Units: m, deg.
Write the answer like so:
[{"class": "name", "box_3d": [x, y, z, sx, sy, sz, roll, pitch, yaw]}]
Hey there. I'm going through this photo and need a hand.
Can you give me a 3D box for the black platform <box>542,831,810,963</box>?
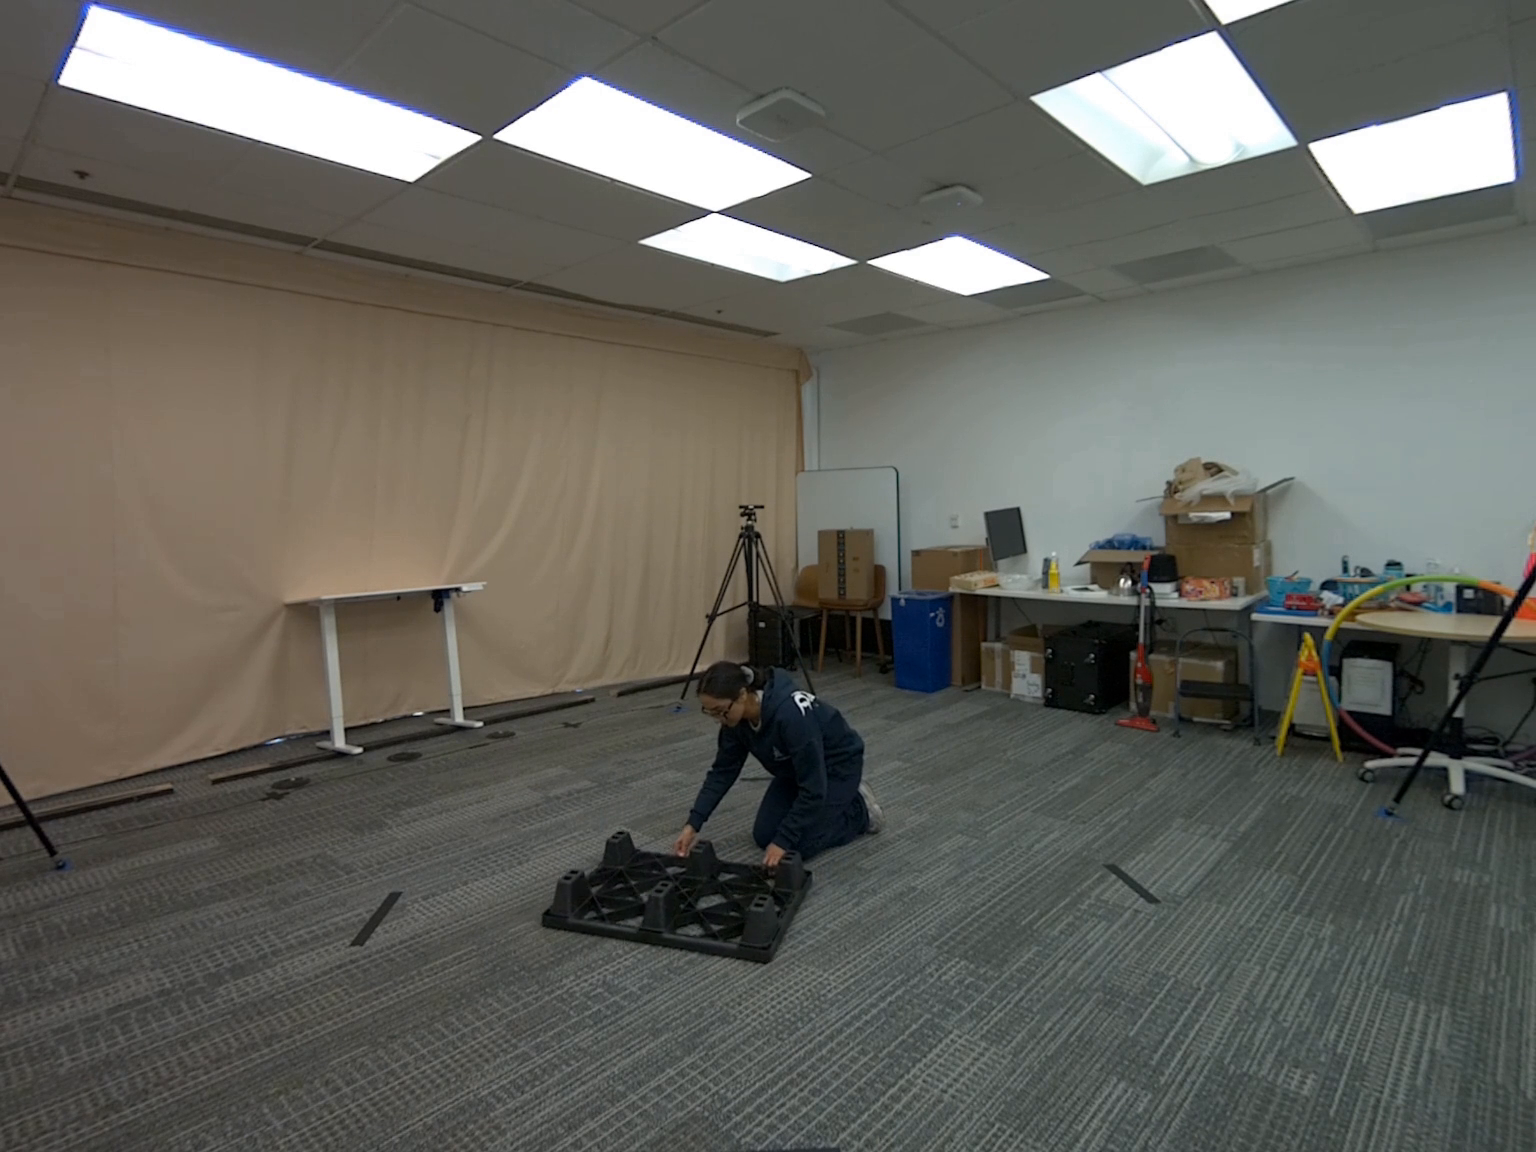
[{"class": "black platform", "box_3d": [-0.298, 1.082, 2.959, 0.821, 0.143, 0.595, 0, 5, 18]}]
